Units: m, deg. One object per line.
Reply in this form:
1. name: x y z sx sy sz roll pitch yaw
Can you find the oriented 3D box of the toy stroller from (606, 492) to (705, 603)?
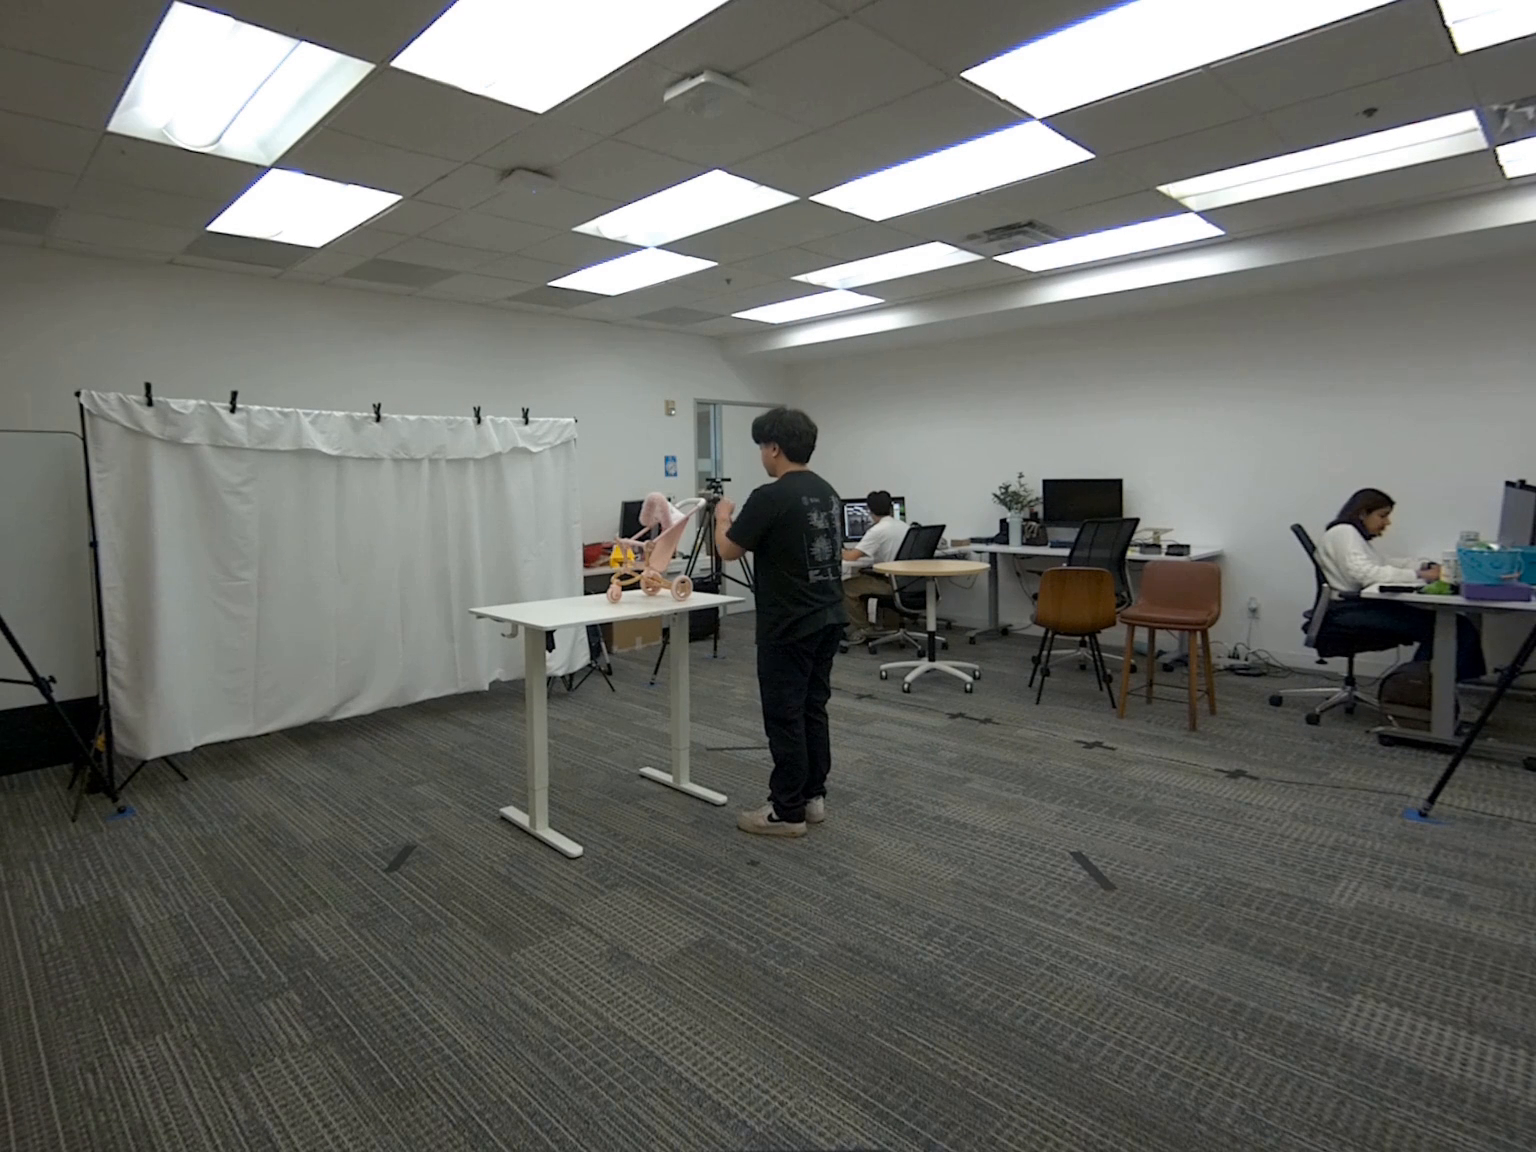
1. toy stroller: -0.502 -0.123 3.706 0.331 0.537 0.289 15 -5 -32
